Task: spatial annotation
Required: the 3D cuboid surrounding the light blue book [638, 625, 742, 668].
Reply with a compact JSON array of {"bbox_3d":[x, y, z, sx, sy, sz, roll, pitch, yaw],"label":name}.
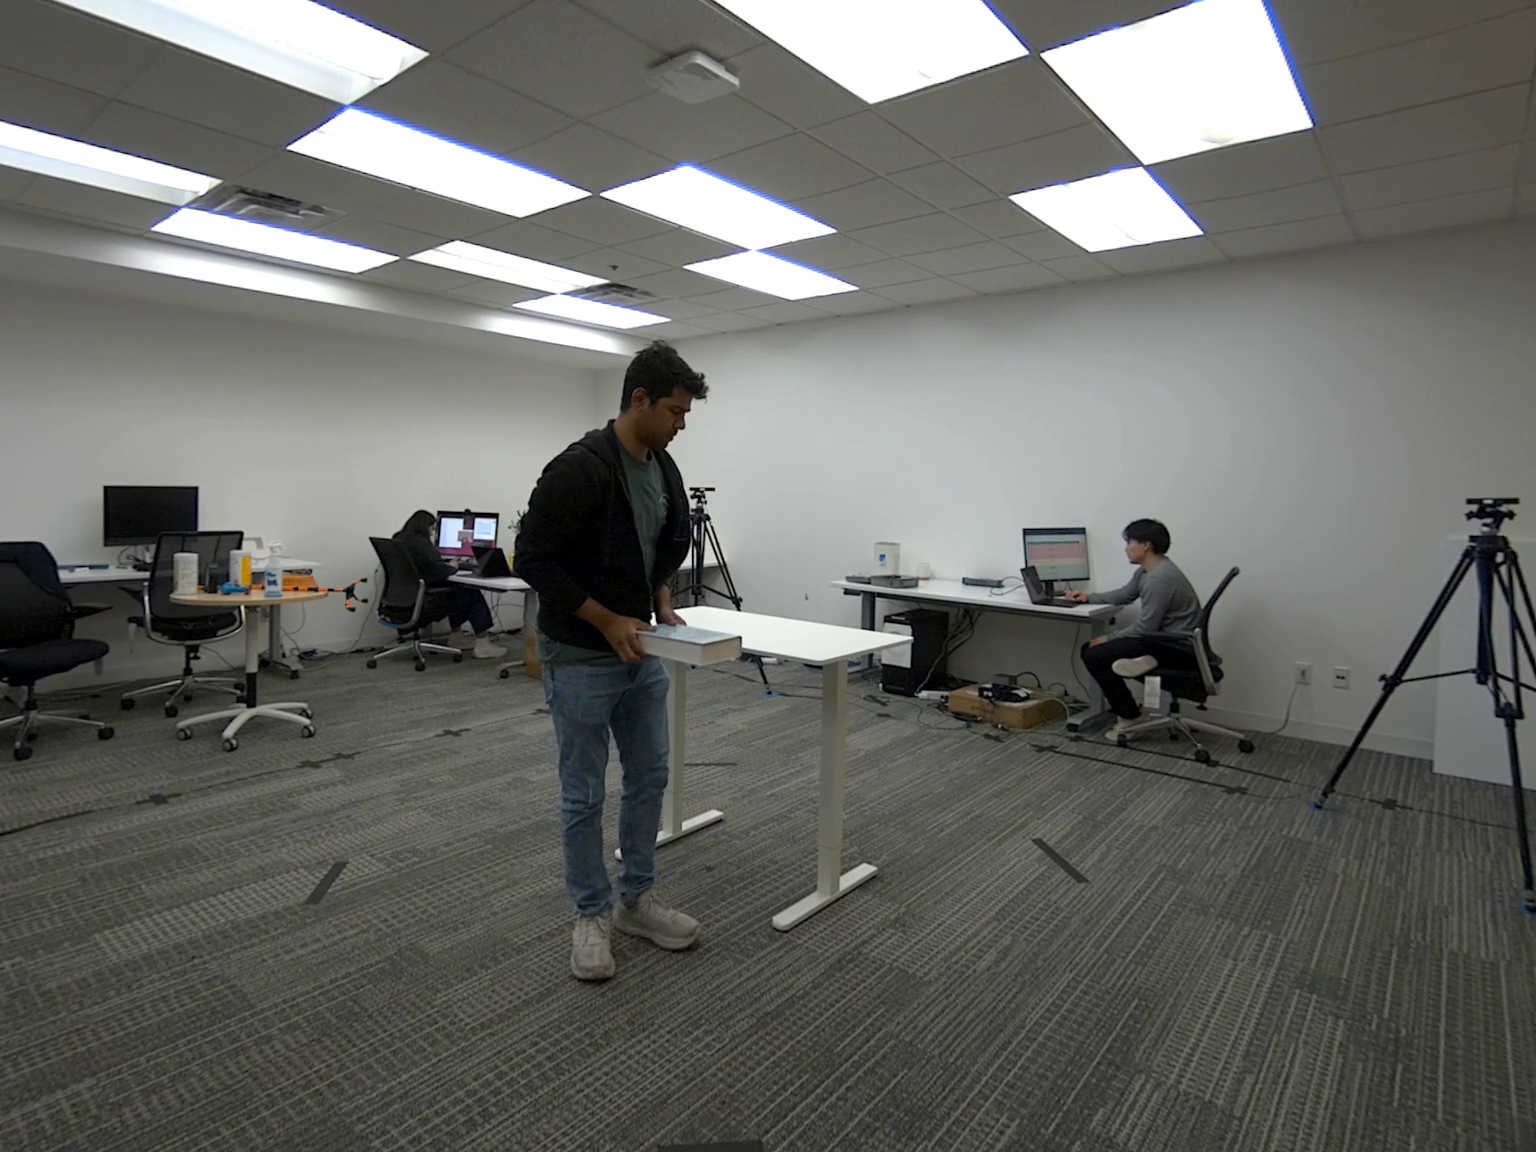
[{"bbox_3d":[-0.226,0.196,2.331,0.269,0.059,0.186,5,6,31],"label":"light blue book"}]
